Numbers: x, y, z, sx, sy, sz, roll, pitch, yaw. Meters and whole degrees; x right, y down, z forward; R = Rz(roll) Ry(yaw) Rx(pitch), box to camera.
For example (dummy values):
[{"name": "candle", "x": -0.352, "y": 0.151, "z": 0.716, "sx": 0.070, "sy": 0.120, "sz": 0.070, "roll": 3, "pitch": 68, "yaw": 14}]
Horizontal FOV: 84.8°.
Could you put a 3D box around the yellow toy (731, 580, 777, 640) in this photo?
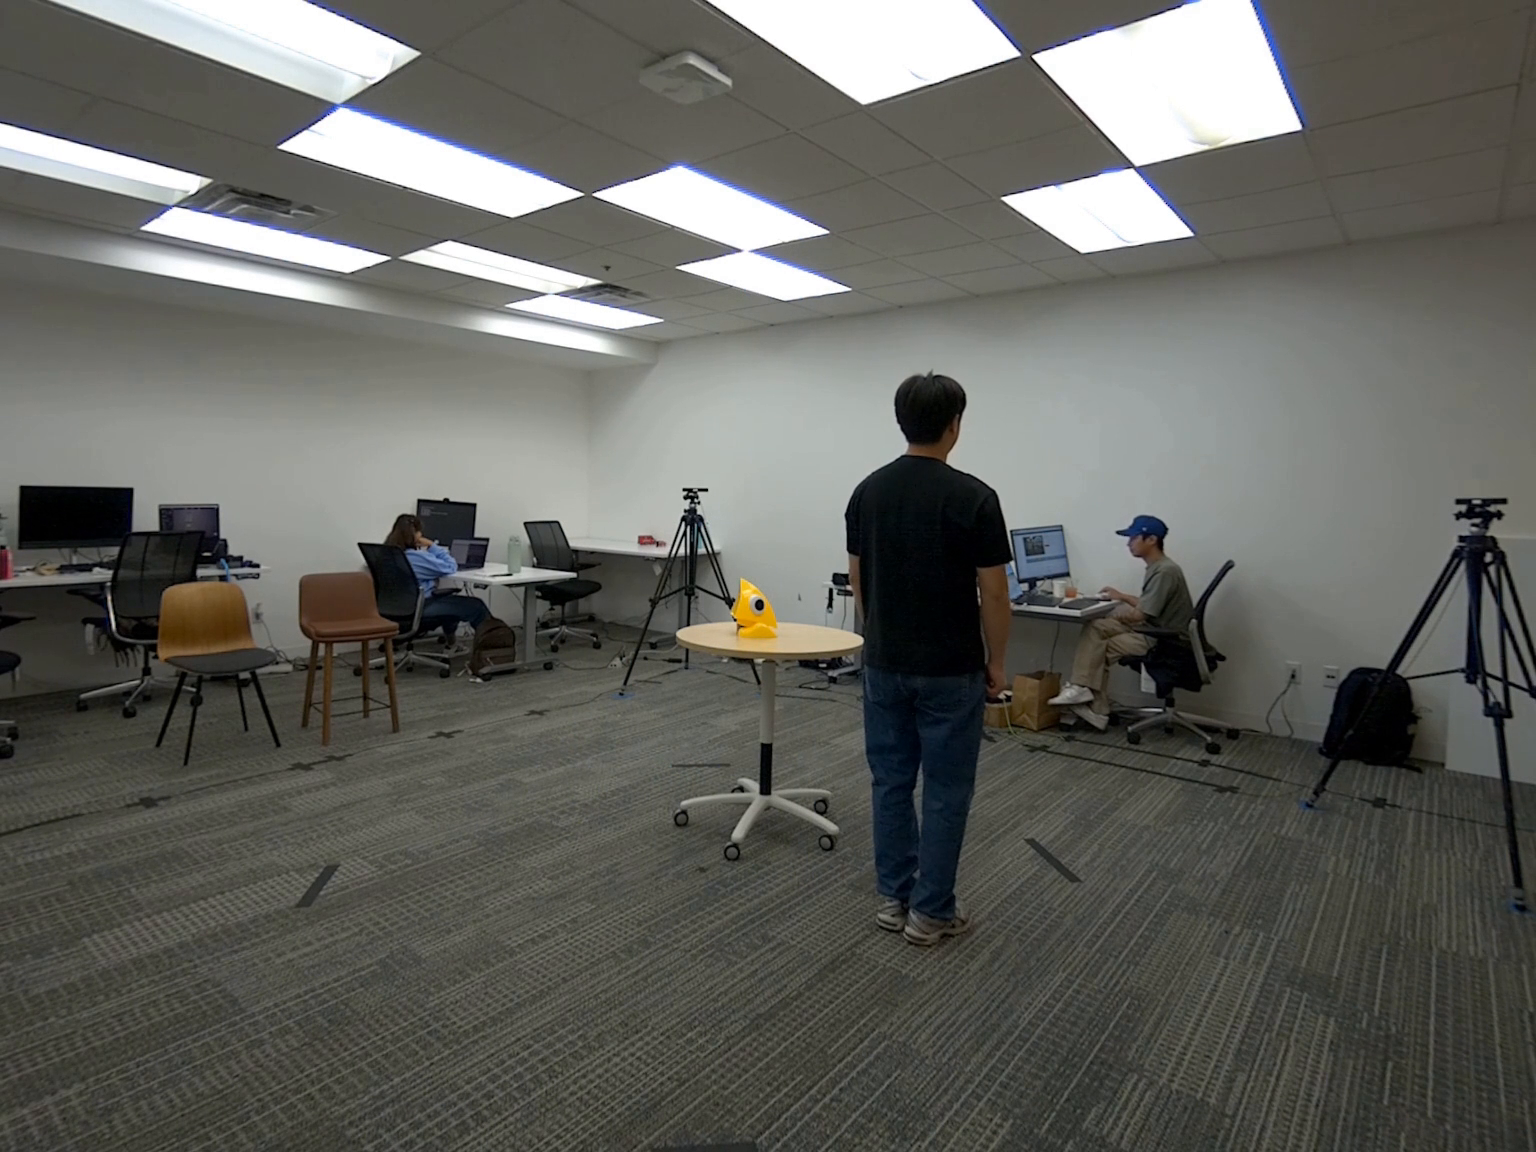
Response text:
[{"name": "yellow toy", "x": -0.064, "y": 0.121, "z": 3.506, "sx": 0.192, "sy": 0.230, "sz": 0.207, "roll": 0, "pitch": 4, "yaw": -6}]
